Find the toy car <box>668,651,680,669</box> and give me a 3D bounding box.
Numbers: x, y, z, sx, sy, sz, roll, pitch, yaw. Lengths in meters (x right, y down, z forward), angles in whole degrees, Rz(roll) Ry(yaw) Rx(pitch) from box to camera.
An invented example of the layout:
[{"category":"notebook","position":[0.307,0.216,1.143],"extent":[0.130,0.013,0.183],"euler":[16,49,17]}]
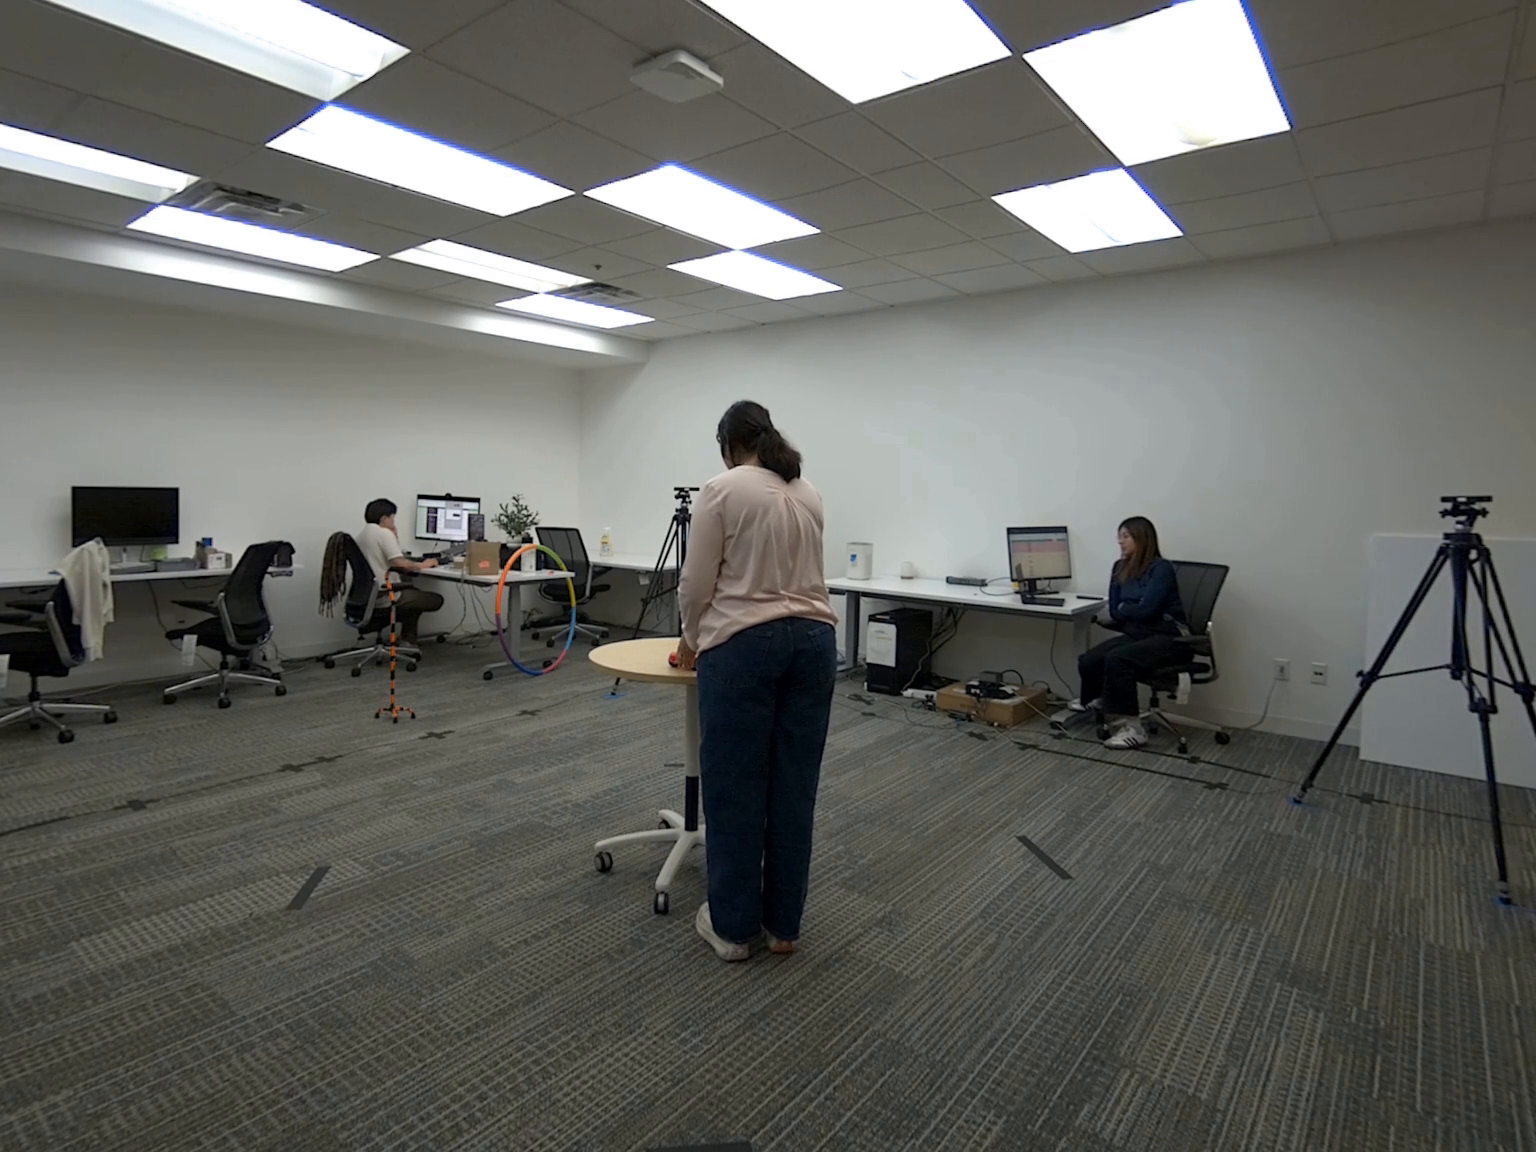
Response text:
[{"category":"toy car","position":[-0.234,0.267,2.916],"extent":[0.134,0.082,0.250],"euler":[5,17,32]}]
